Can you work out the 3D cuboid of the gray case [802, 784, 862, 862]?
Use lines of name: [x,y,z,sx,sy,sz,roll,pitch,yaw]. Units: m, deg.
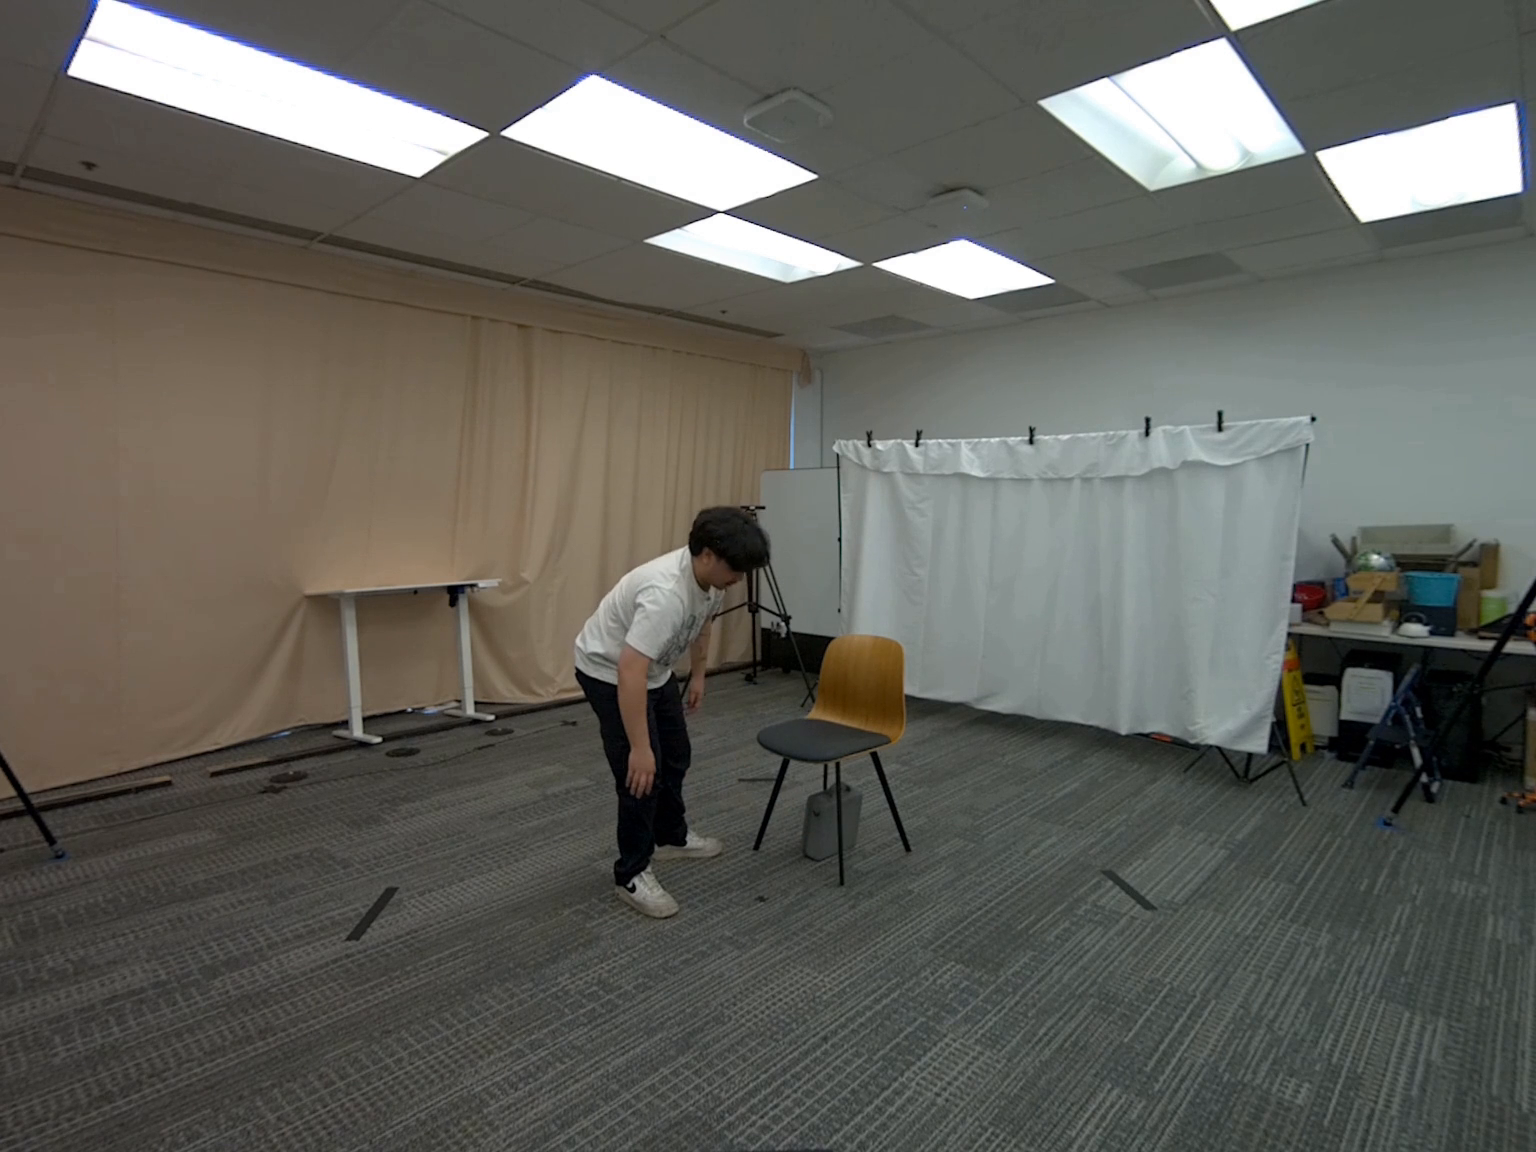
gray case: [0.260,0.983,3.370,0.249,0.259,0.108,-3,13,-42]
